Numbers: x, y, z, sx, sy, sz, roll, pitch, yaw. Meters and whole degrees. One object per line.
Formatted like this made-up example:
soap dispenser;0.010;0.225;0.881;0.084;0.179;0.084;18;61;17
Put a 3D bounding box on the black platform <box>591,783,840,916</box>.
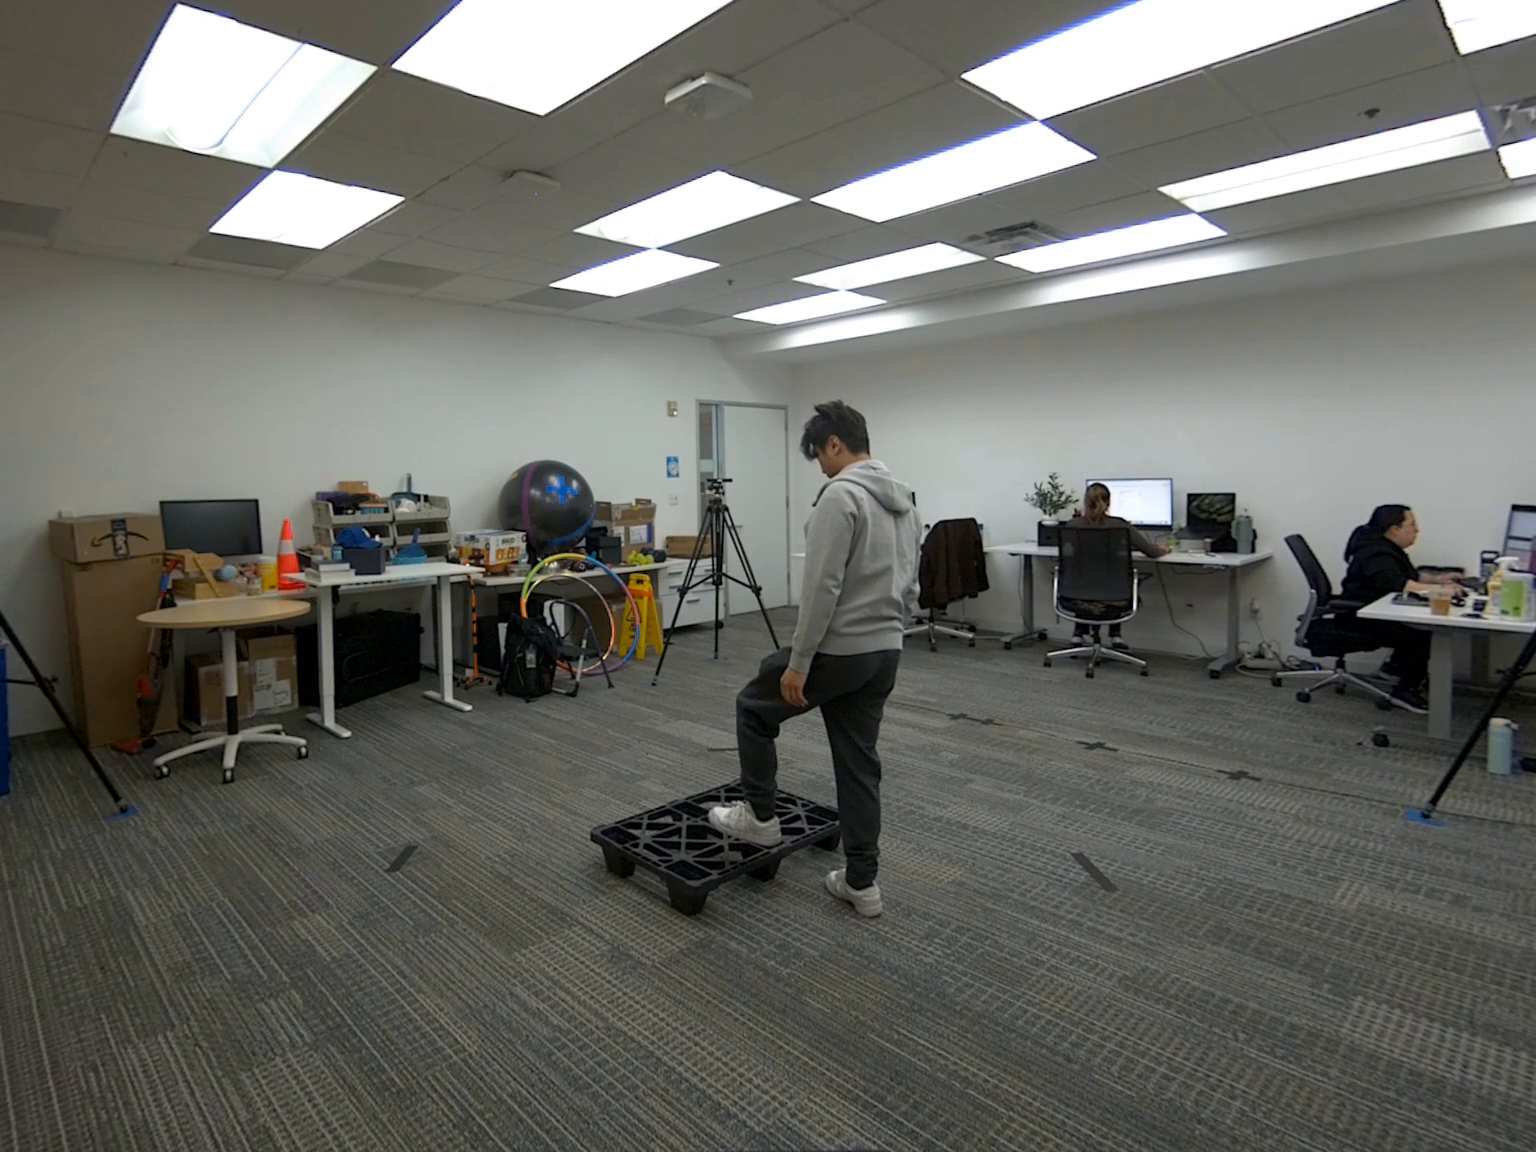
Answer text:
black platform;-0.152;0.977;3.148;0.784;0.142;0.624;-7;10;-44
